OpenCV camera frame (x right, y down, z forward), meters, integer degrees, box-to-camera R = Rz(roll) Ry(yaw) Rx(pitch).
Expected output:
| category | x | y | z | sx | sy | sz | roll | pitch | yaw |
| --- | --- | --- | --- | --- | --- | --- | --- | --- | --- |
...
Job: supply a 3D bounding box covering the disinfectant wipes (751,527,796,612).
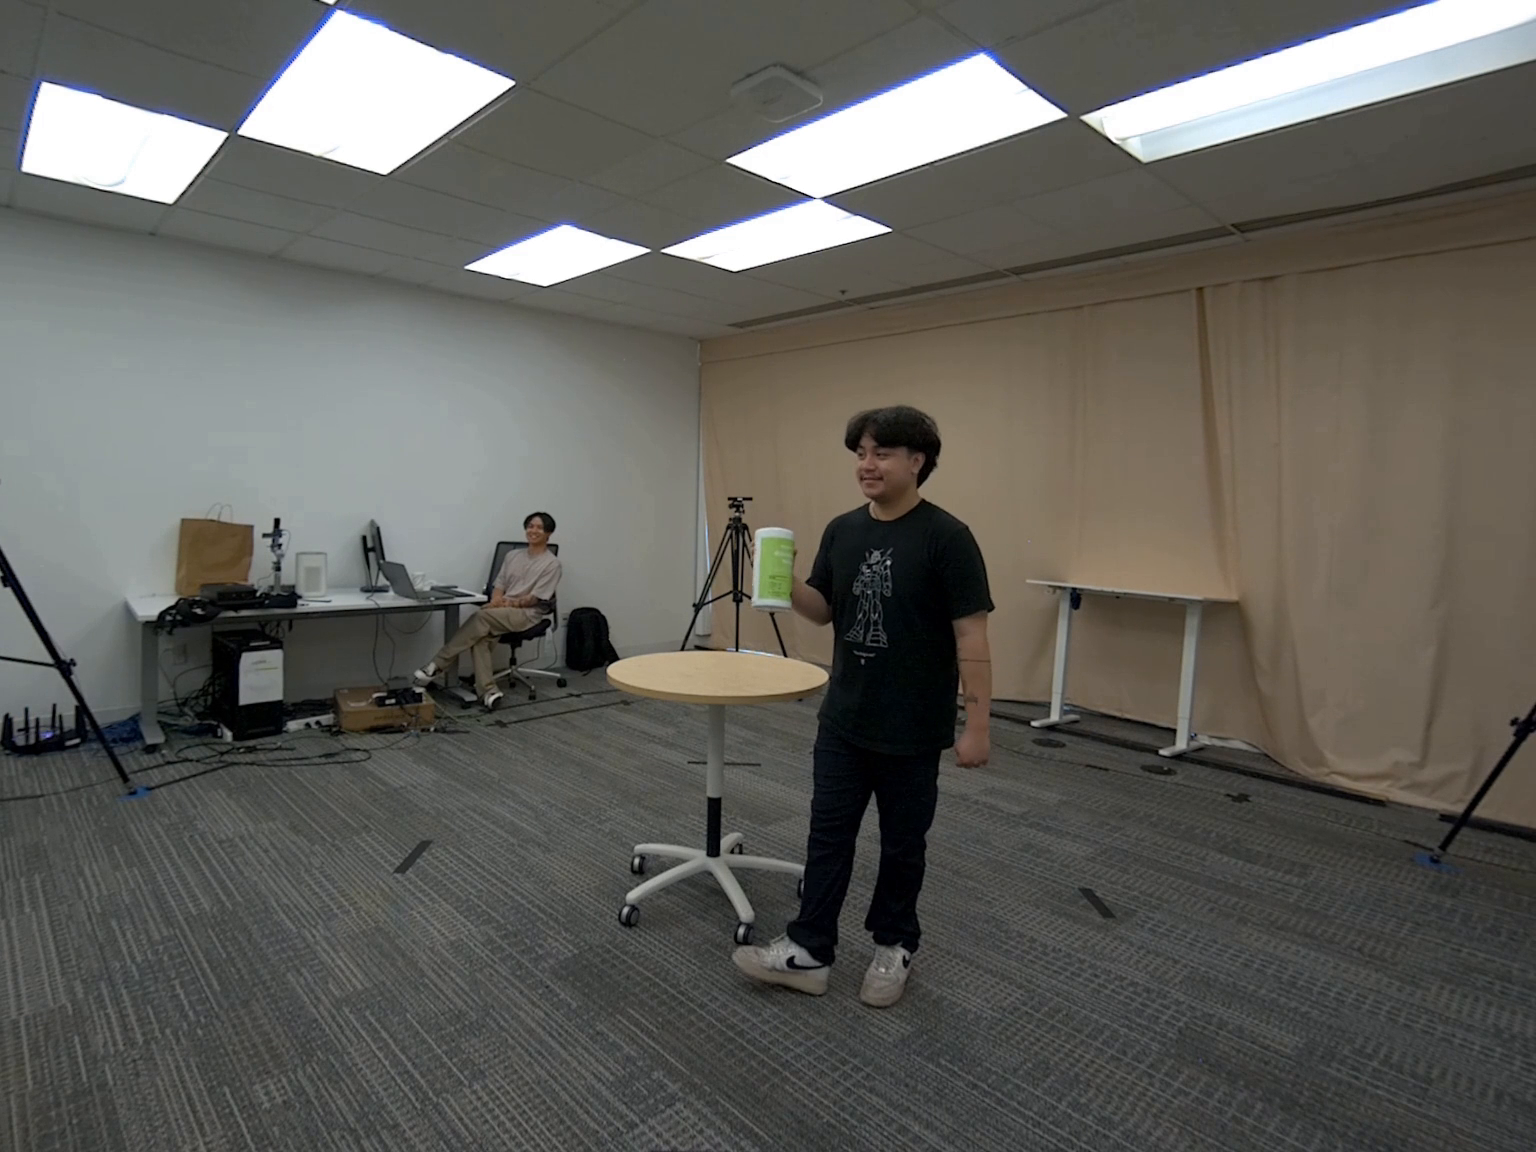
| category | x | y | z | sx | sy | sz | roll | pitch | yaw |
| --- | --- | --- | --- | --- | --- | --- | --- | --- | --- |
| disinfectant wipes | 0.008 | -0.014 | 2.277 | 0.118 | 0.219 | 0.117 | 0 | -11 | -1 |
